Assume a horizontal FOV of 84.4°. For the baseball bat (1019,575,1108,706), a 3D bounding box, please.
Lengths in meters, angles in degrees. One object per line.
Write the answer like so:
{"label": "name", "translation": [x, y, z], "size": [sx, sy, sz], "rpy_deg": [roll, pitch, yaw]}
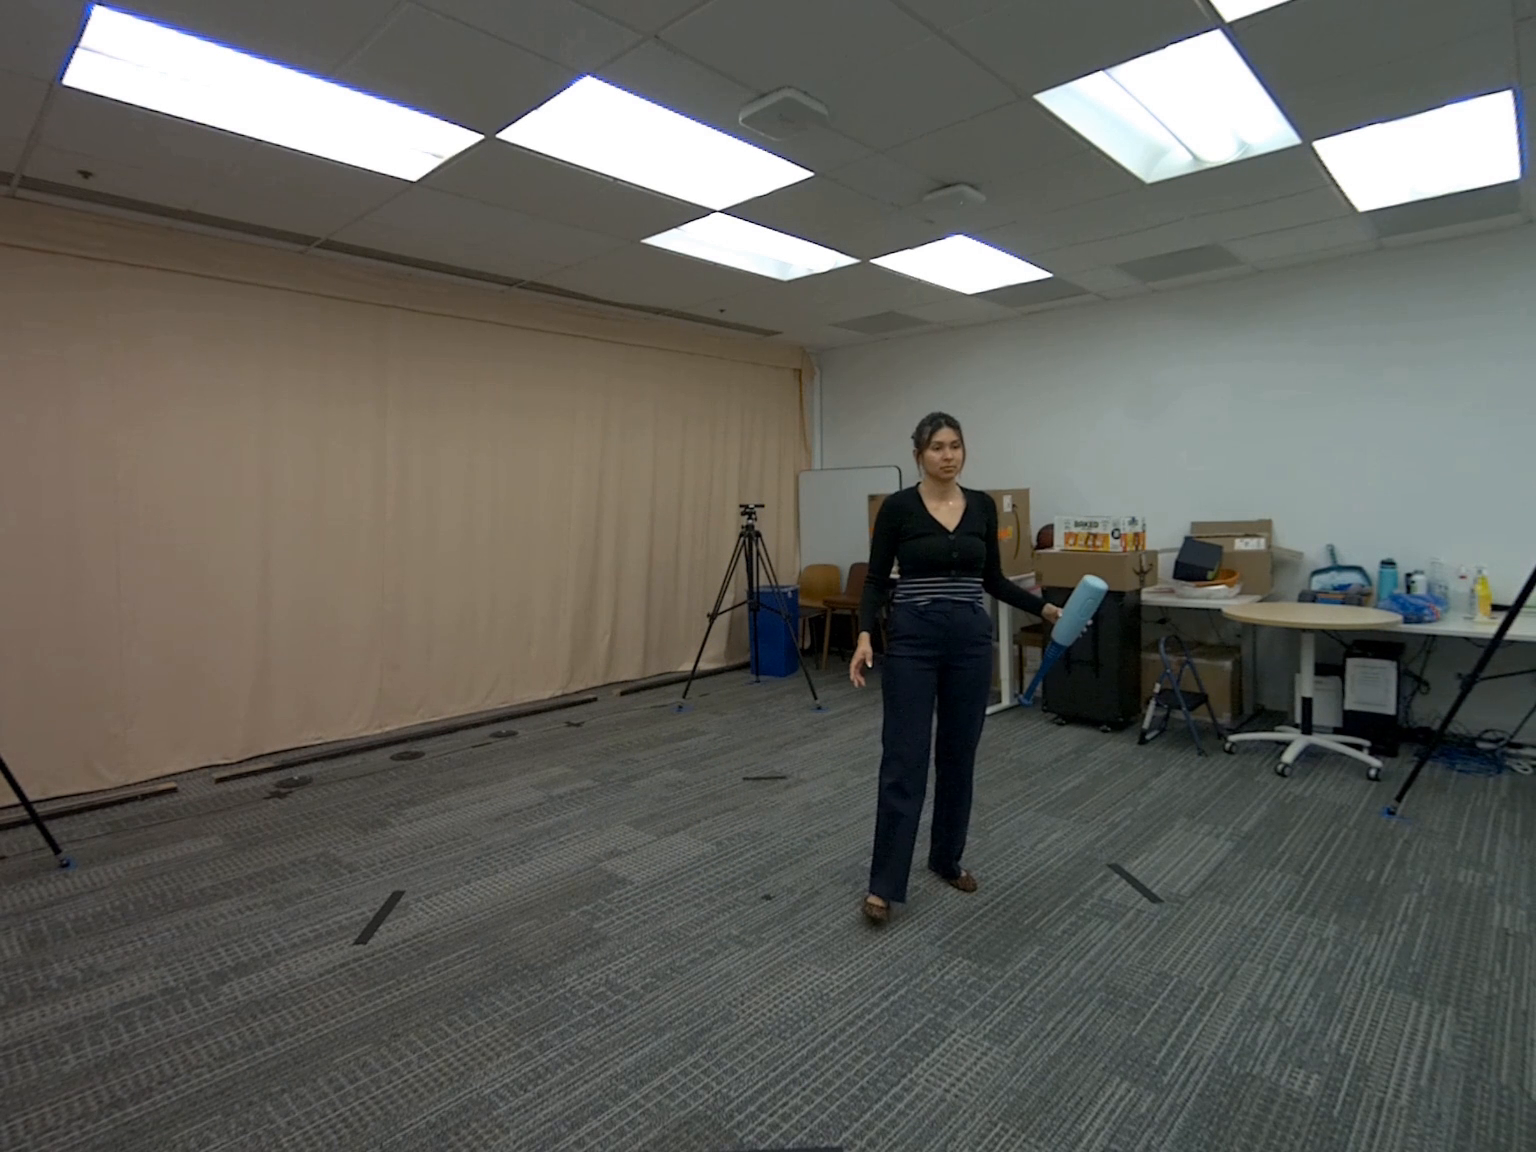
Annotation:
{"label": "baseball bat", "translation": [0.996, 0.229, 2.869], "size": [0.088, 0.540, 0.090], "rpy_deg": [15, 28, -10]}
